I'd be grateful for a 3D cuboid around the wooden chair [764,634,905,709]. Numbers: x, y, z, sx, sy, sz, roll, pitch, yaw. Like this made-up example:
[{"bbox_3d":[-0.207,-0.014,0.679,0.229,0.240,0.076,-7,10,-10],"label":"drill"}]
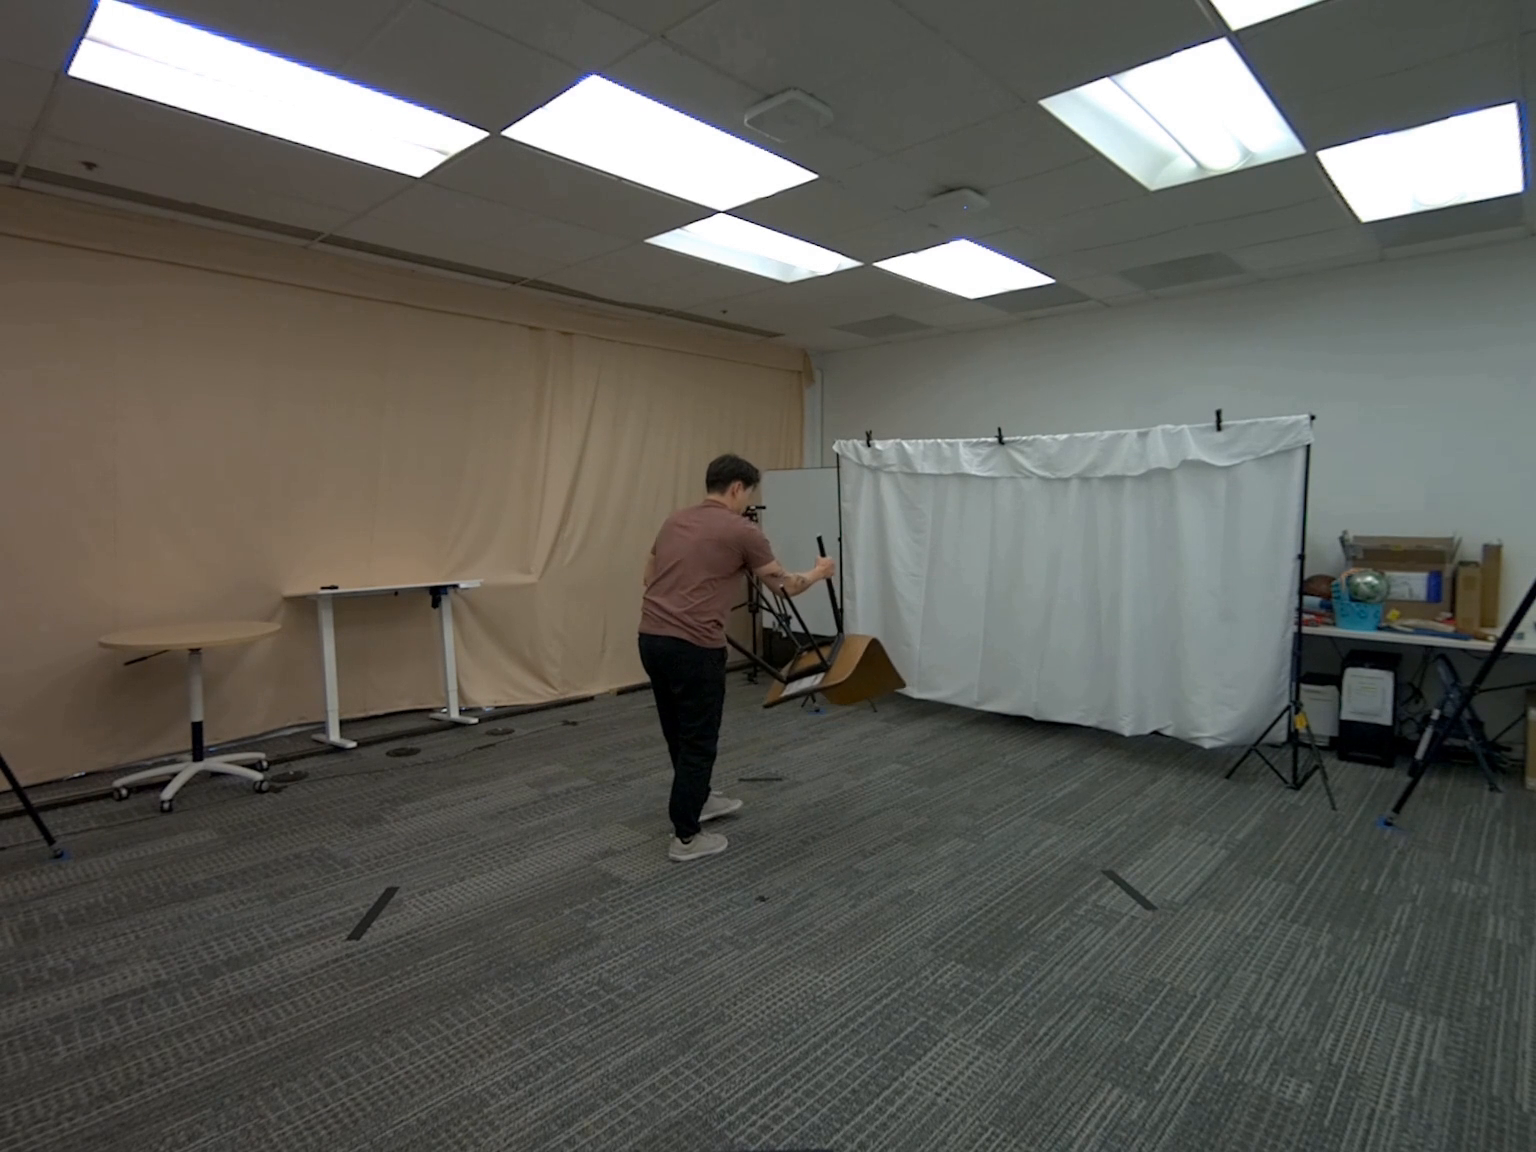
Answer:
[{"bbox_3d":[0.200,0.360,3.634,0.488,0.863,0.521,-25,18,35],"label":"wooden chair"}]
